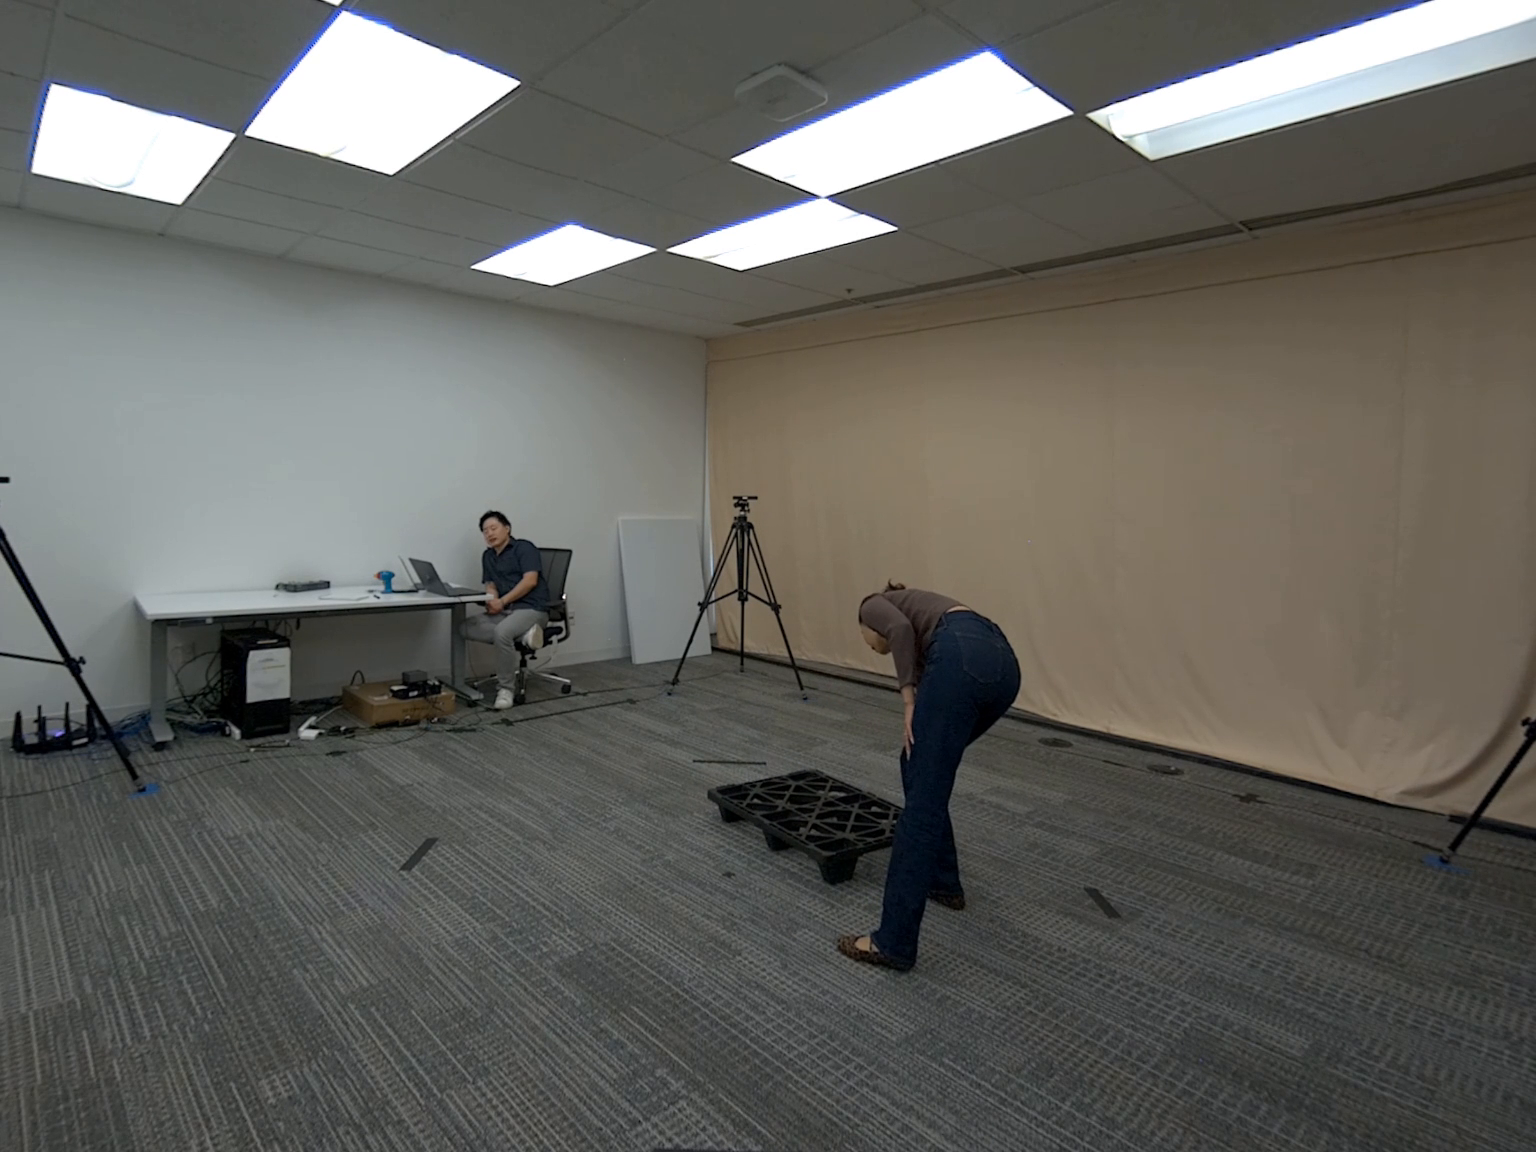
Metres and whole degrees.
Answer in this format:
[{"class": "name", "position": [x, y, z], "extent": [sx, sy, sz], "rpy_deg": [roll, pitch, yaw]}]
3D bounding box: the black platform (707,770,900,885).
[{"class": "black platform", "position": [0.199, 1.013, 3.459], "extent": [0.592, 0.143, 0.825], "rpy_deg": [-3, 6, -35]}]
